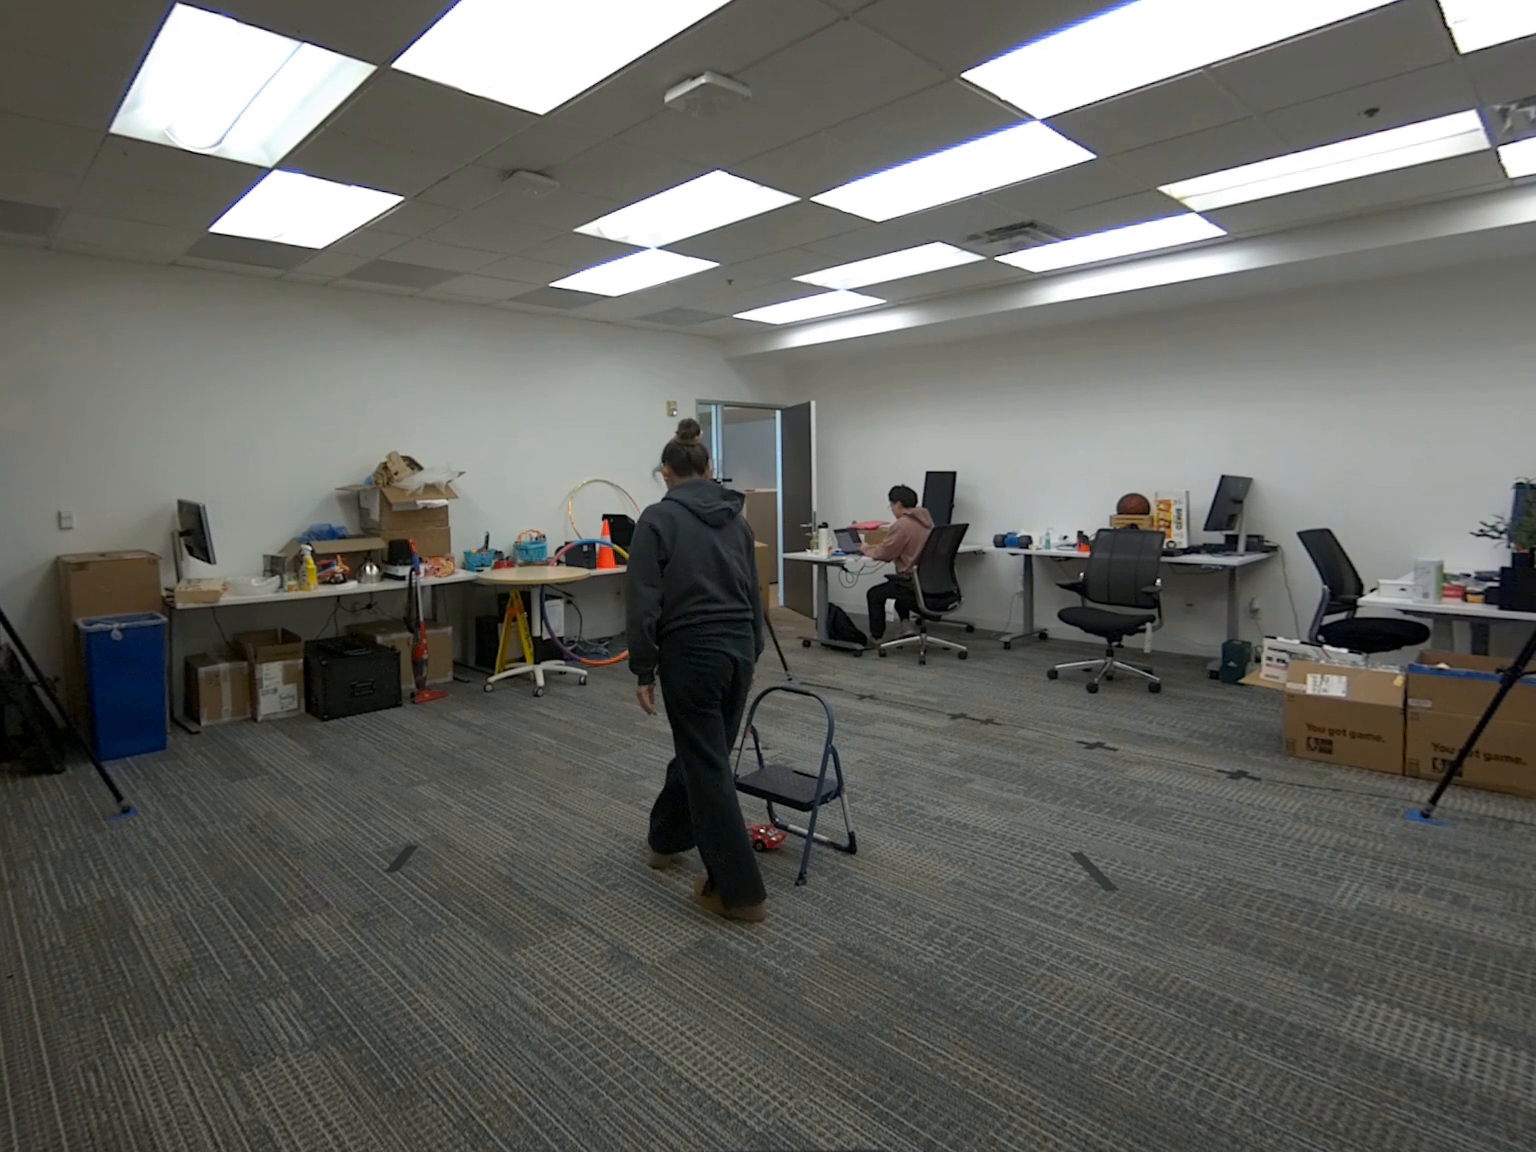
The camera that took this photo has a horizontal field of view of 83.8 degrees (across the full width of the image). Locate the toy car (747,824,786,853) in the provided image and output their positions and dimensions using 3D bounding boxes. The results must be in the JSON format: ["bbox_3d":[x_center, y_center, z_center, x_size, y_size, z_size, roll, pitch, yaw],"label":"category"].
[{"bbox_3d":[-0.038,1.001,3.257,0.260,0.083,0.127,-11,-1,33],"label":"toy car"}]
